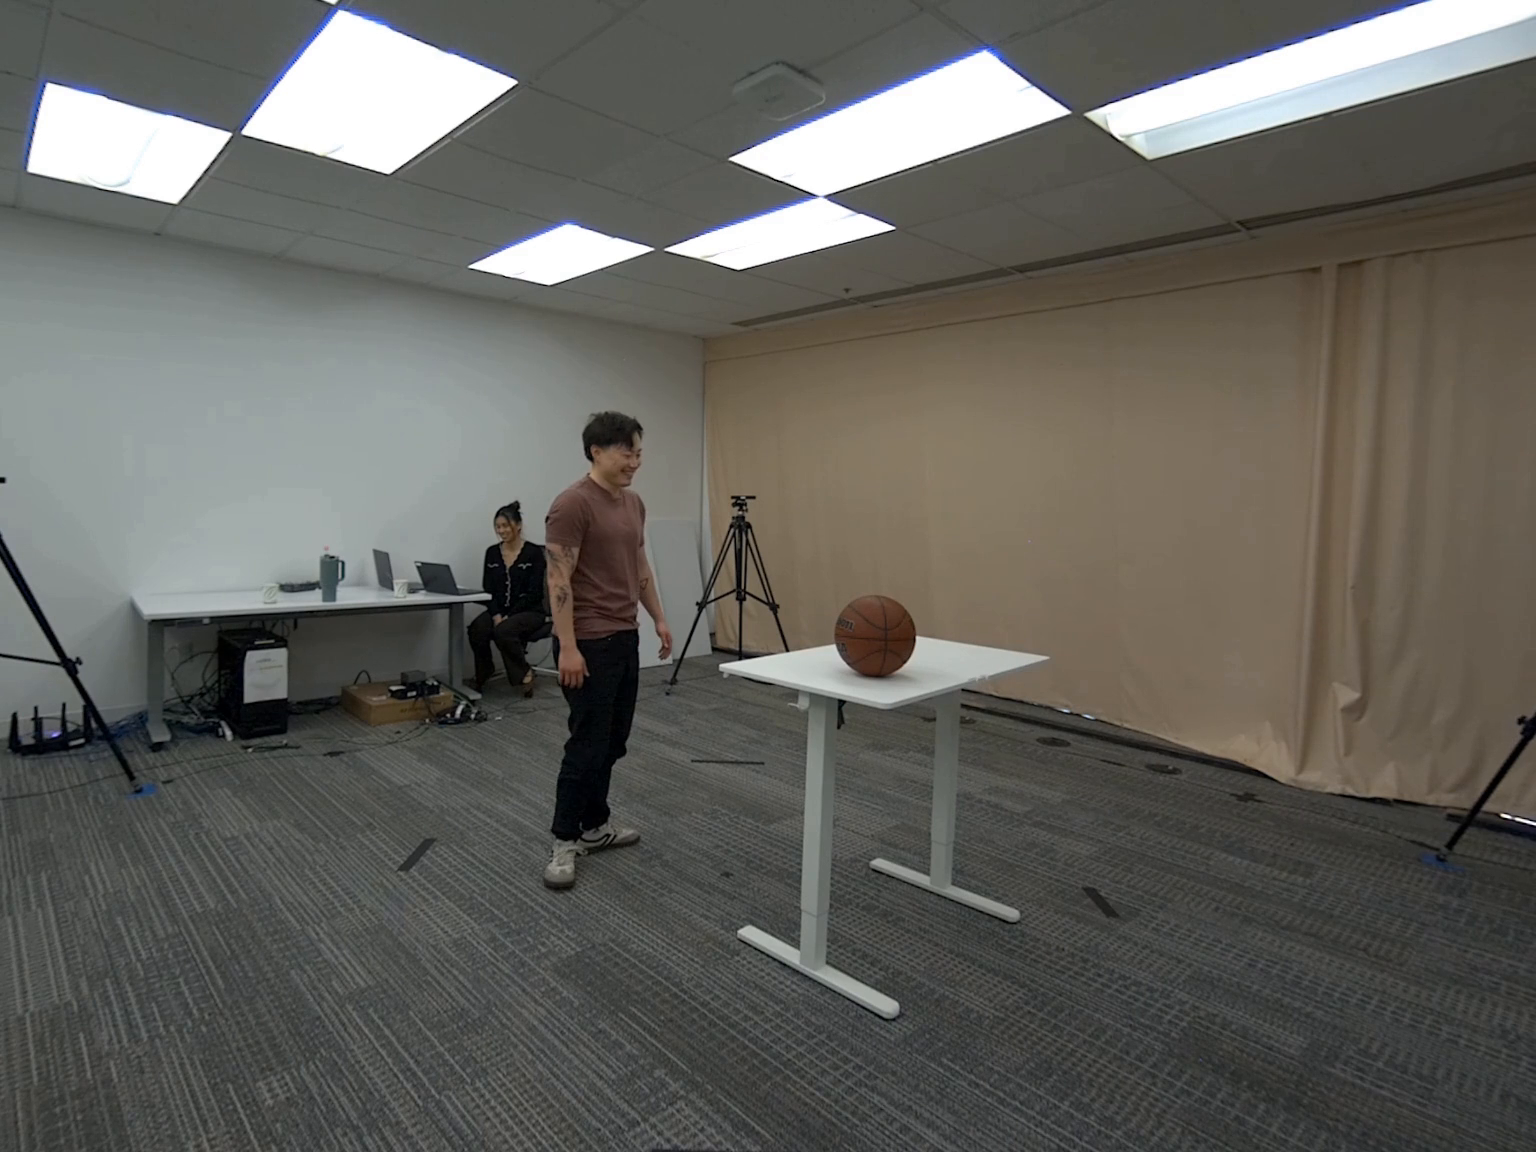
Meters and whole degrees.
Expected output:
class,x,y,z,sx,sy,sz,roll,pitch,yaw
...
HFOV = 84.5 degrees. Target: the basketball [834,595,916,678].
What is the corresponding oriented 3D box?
class,x,y,z,sx,sy,sz,roll,pitch,yaw
basketball,0.309,0.176,2.456,0.236,0.235,0.237,1,4,-1
